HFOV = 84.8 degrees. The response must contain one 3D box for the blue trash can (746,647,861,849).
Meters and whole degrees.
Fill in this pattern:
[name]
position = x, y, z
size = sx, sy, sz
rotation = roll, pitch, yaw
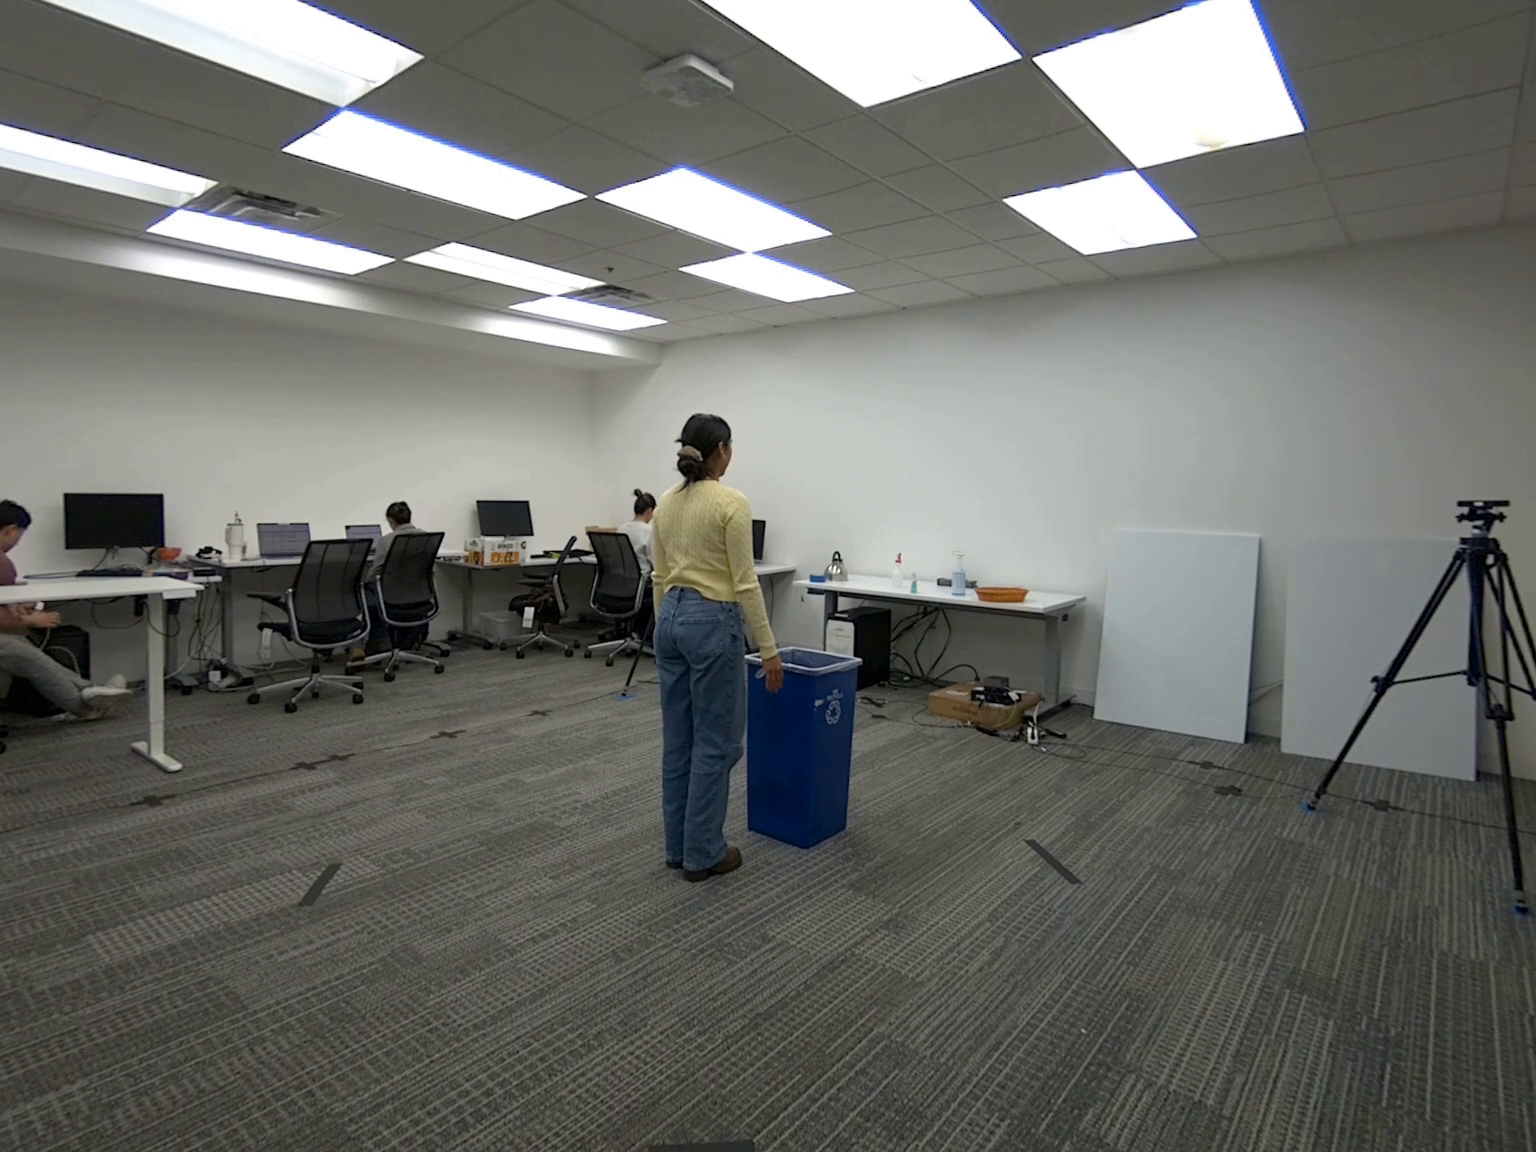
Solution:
[blue trash can]
position = 0.125, 0.685, 3.510
size = 0.391, 0.711, 0.363
rotation = 4, 4, 38
